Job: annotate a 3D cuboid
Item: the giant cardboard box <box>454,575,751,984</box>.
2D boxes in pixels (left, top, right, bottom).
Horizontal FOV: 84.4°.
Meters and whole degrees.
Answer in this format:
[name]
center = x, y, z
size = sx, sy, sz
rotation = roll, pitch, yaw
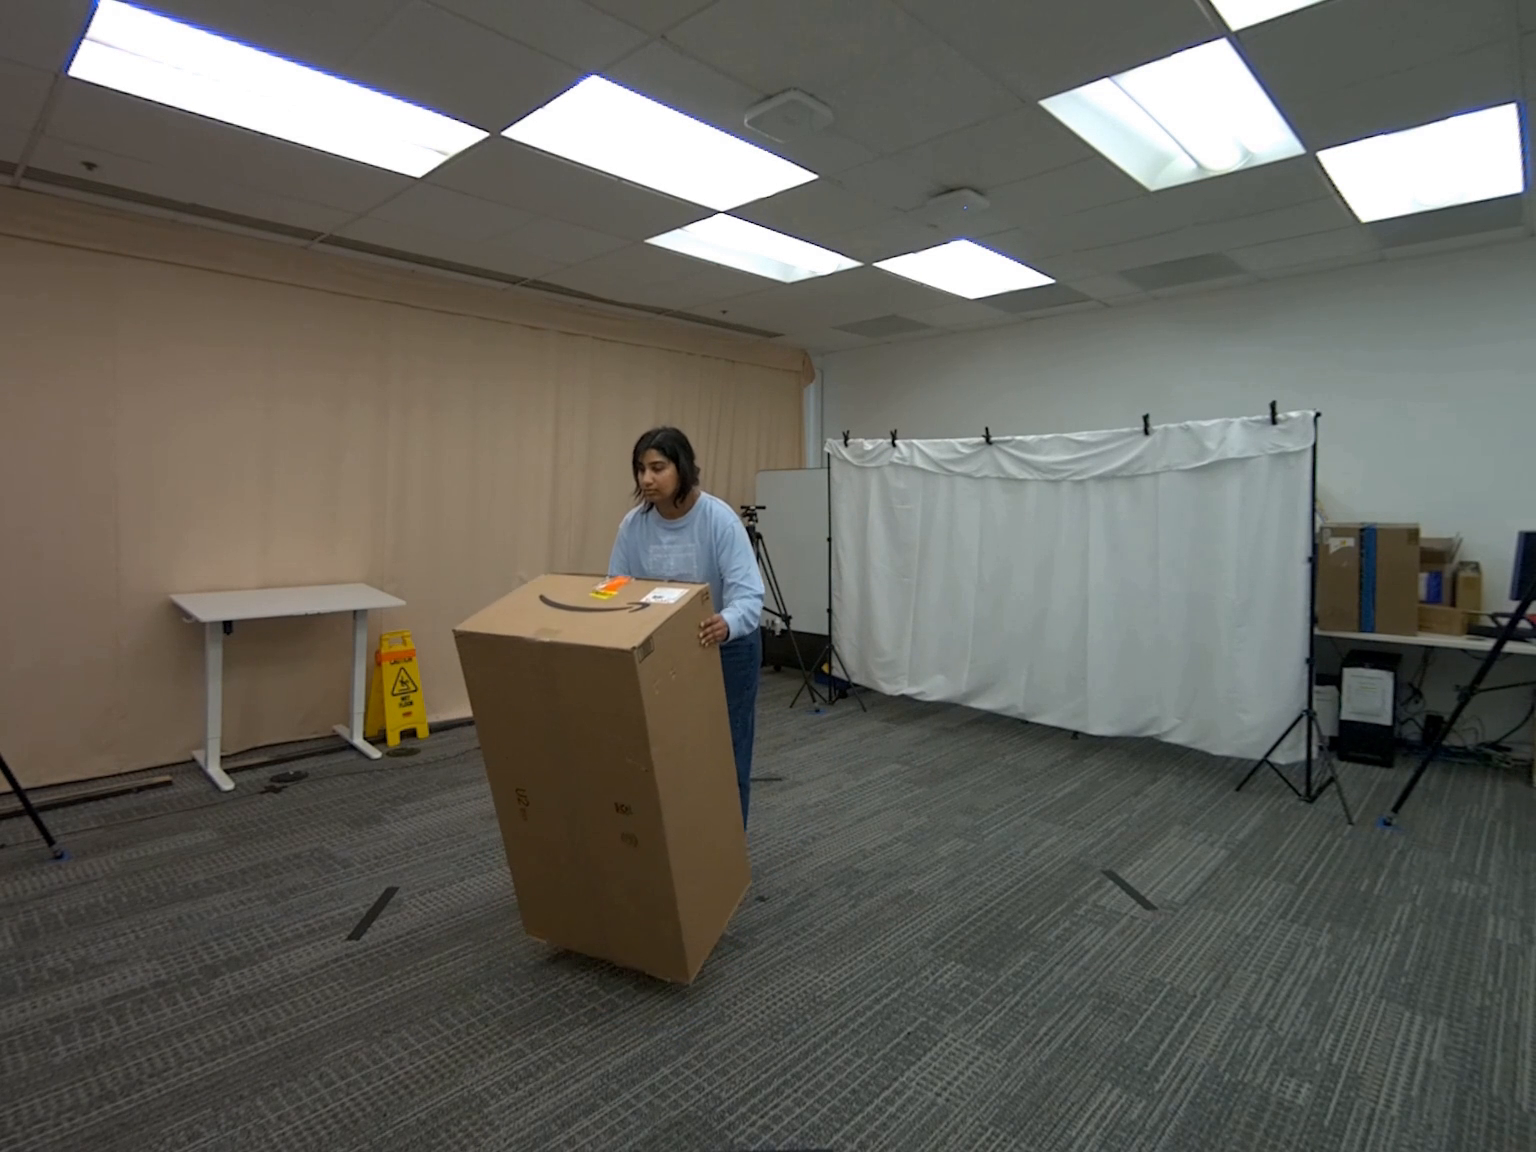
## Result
[giant cardboard box]
center = -0.451, 0.550, 2.441
size = 0.600, 1.014, 0.440
rotation = 3, 20, 27
